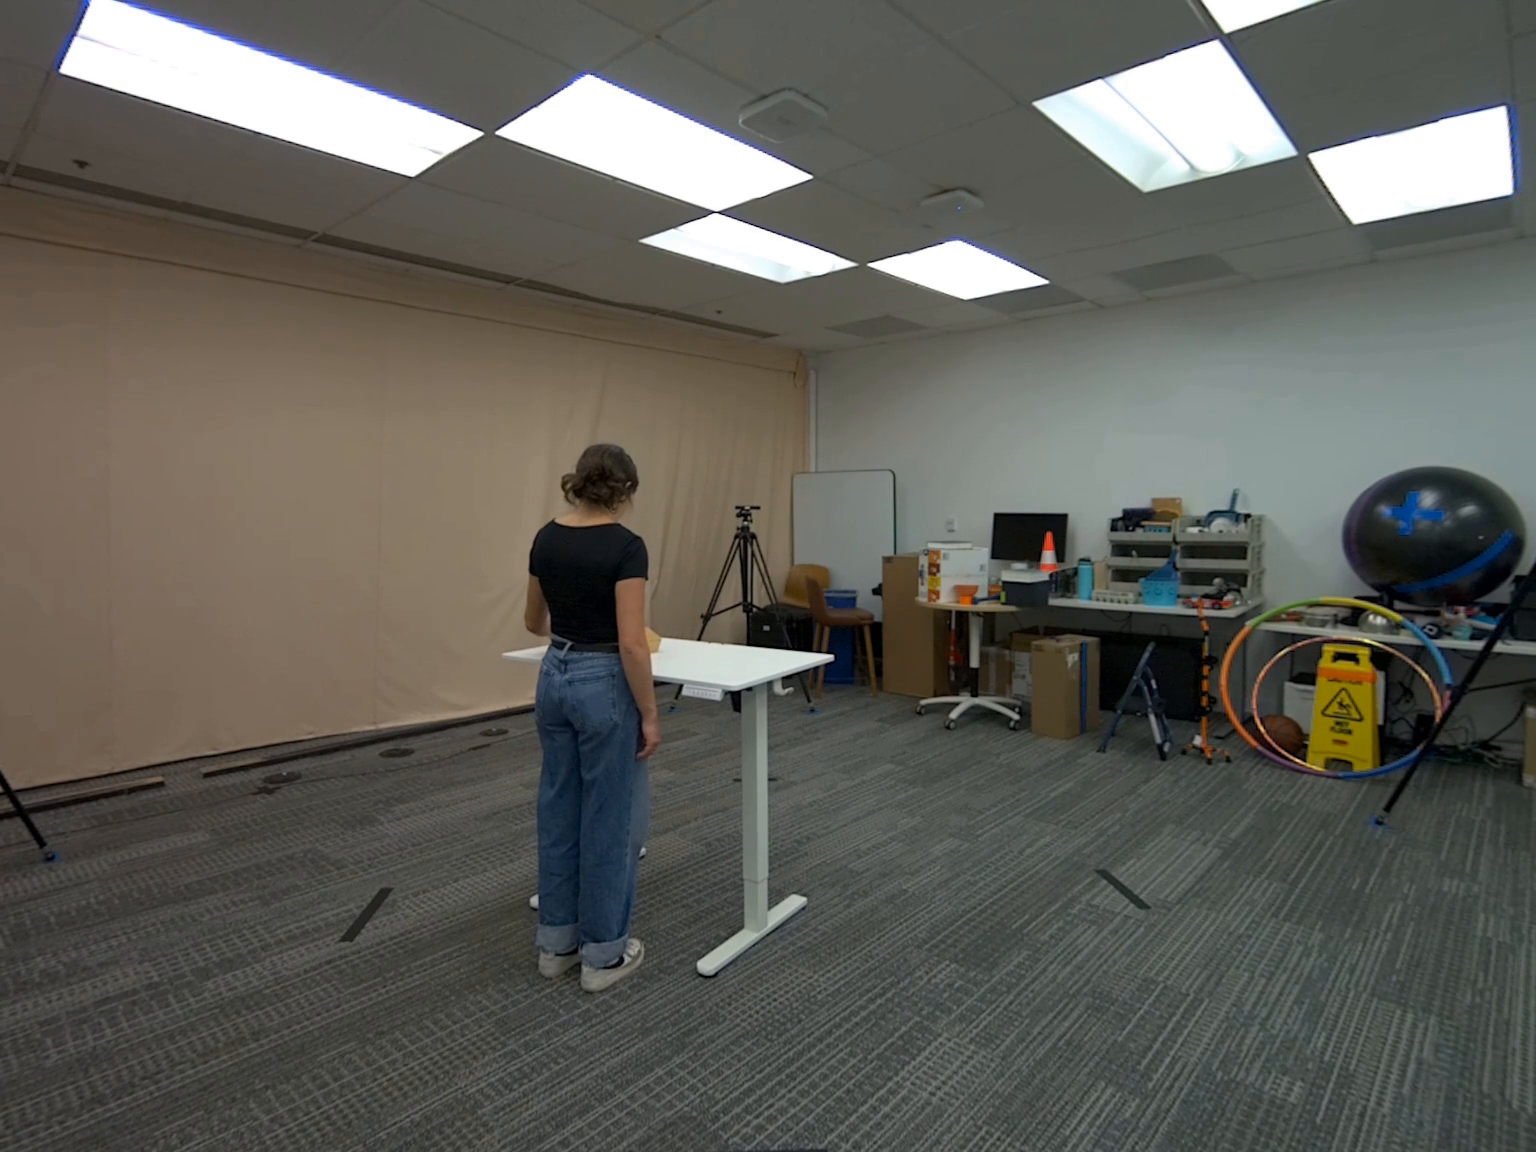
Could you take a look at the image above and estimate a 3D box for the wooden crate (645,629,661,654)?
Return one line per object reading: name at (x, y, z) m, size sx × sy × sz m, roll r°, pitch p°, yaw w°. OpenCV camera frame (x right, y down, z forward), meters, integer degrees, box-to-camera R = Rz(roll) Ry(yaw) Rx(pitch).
wooden crate at (-0.589, 0.135, 2.965) m, size 0.335 × 0.273 × 0.293 m, roll 3°, pitch 6°, yaw 43°
